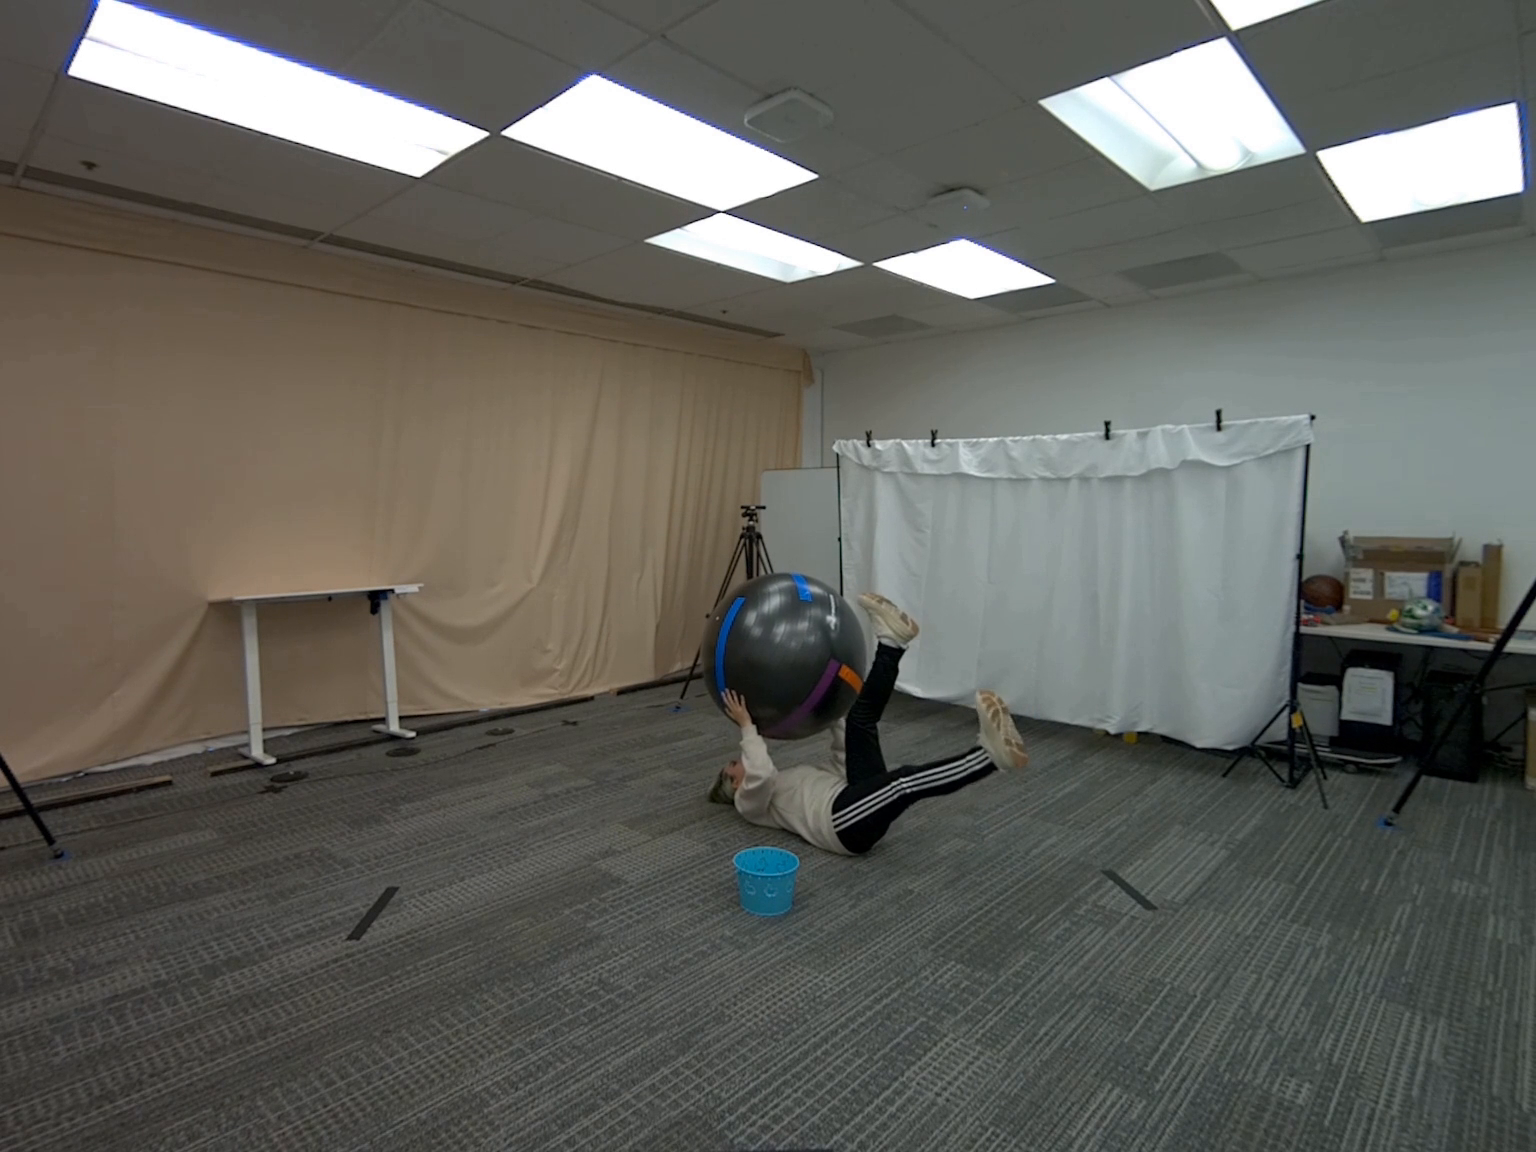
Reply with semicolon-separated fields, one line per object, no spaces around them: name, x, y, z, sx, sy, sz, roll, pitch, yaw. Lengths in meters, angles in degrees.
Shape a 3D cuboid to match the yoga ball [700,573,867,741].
yoga ball;0.067;0.366;3.854;0.757;0.756;0.760;0;4;-2
